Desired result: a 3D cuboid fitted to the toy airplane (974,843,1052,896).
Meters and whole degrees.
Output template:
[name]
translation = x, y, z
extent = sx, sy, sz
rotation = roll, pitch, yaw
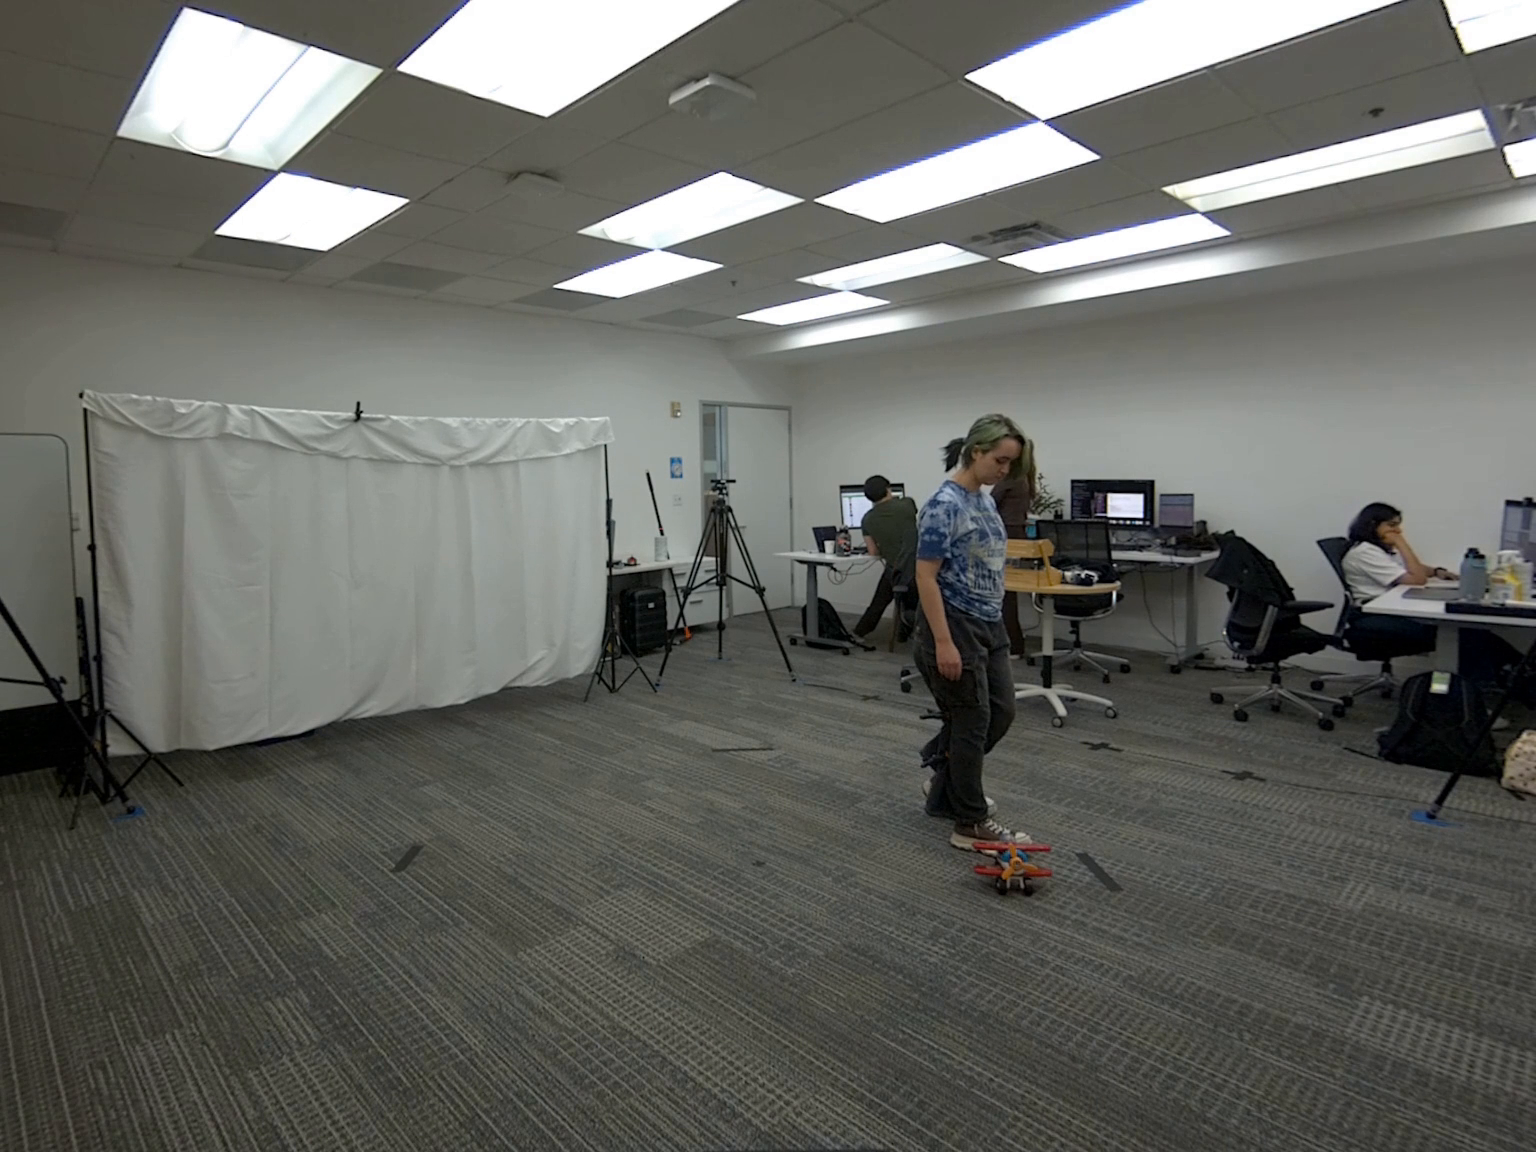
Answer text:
[toy airplane]
translation = 0.817, 0.983, 2.938
extent = 0.247, 0.155, 0.265
rotation = -5, 8, -20
